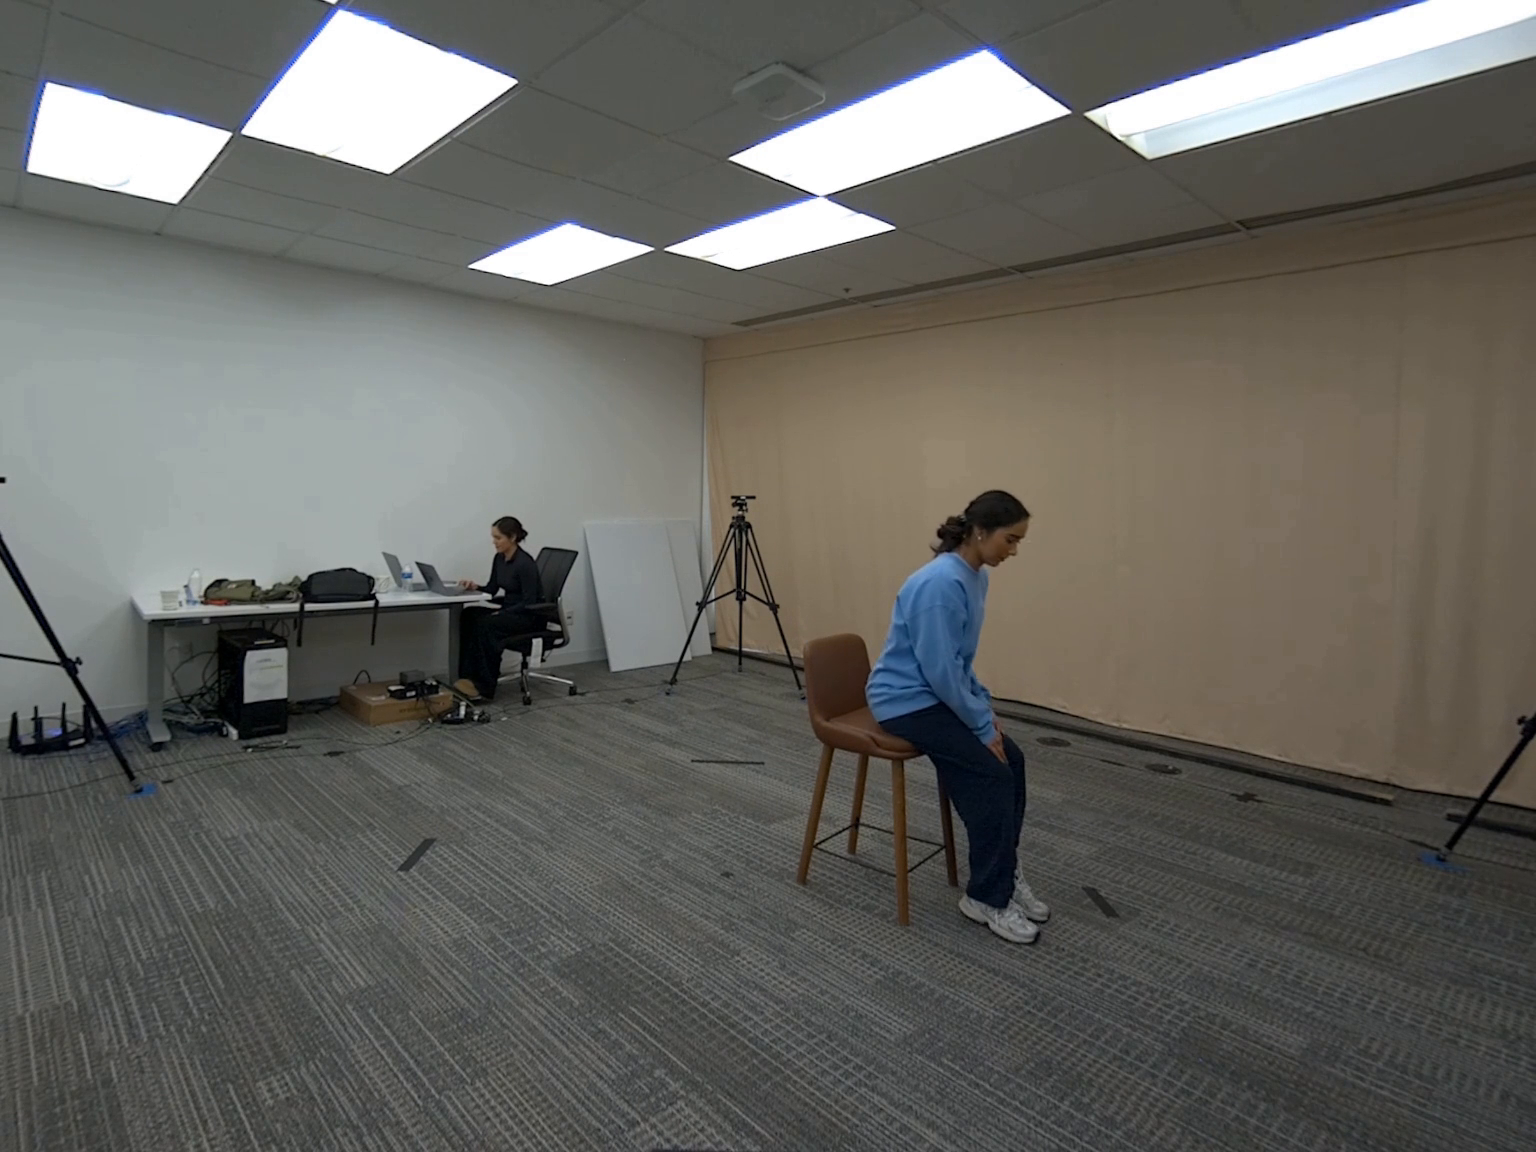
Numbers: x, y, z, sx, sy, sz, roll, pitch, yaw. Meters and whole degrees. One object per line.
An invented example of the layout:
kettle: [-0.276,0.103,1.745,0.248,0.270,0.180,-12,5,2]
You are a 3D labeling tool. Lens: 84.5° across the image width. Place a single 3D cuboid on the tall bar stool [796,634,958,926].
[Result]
tall bar stool: [0.392,0.686,3.034,0.479,0.888,0.446,3,3,39]
